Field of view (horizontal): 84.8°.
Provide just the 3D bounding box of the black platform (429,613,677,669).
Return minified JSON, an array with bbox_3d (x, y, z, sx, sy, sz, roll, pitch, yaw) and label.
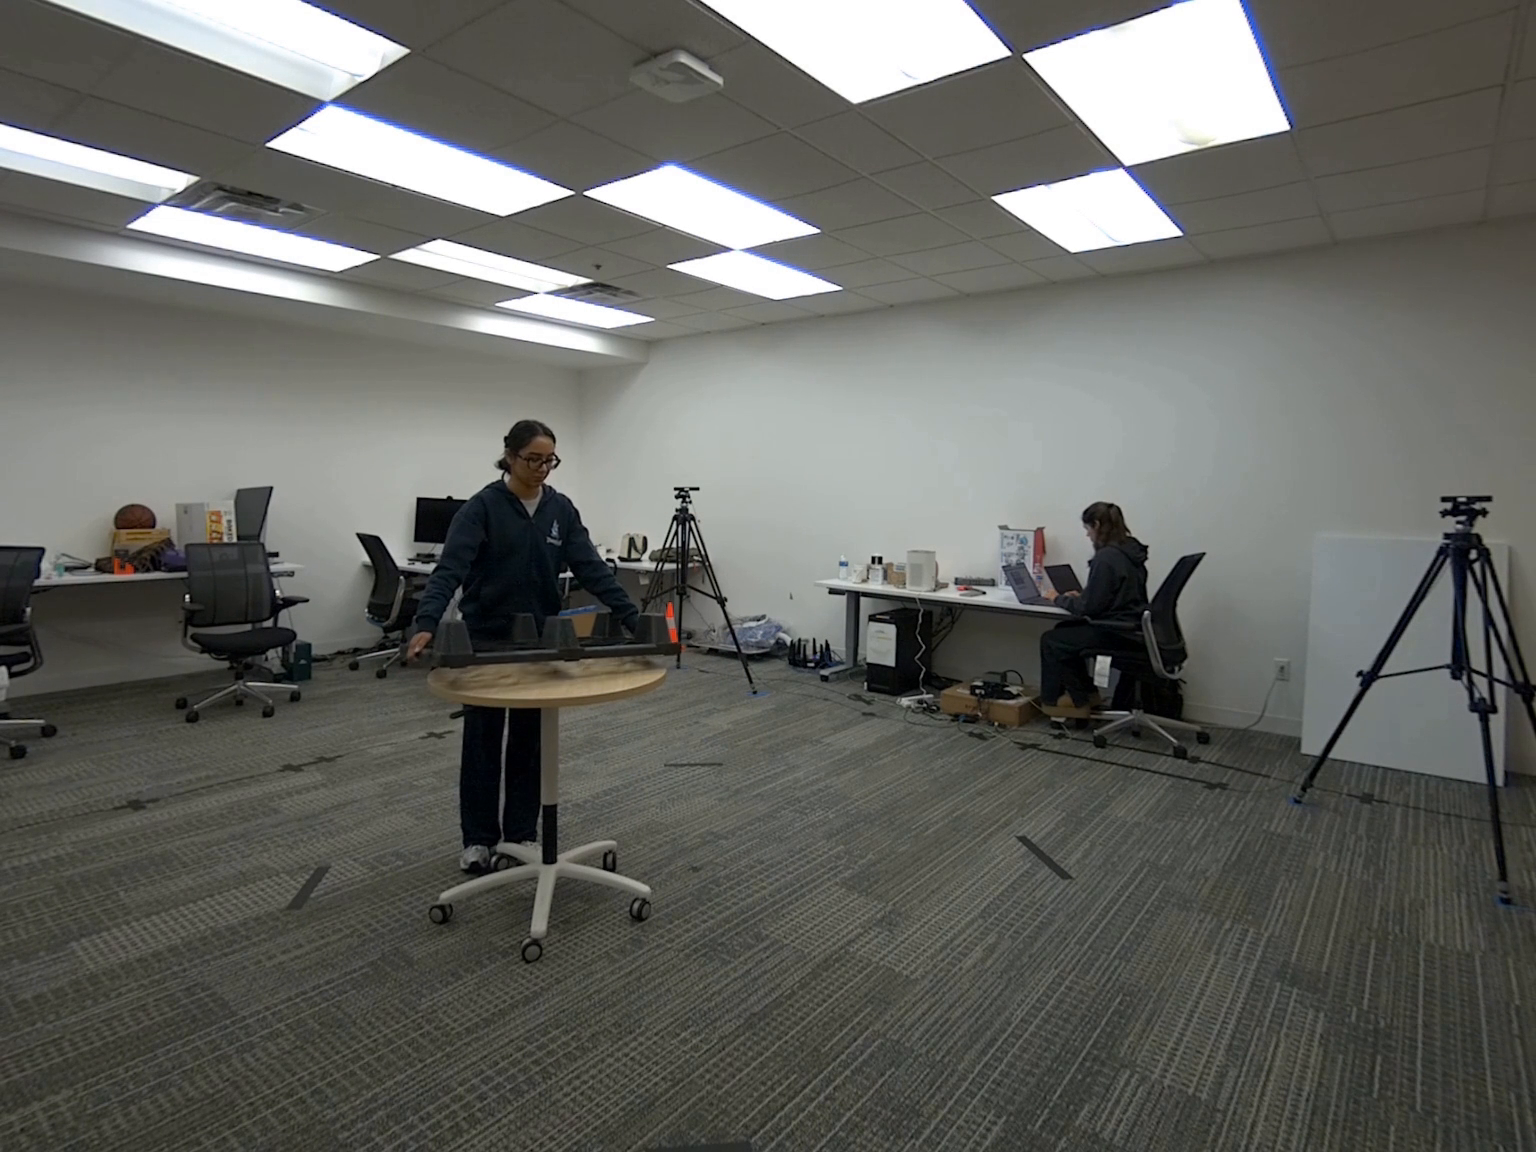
[{"bbox_3d":[-0.786,0.203,2.891,0.782,0.144,0.621,-1,-1,-33],"label":"black platform"}]
